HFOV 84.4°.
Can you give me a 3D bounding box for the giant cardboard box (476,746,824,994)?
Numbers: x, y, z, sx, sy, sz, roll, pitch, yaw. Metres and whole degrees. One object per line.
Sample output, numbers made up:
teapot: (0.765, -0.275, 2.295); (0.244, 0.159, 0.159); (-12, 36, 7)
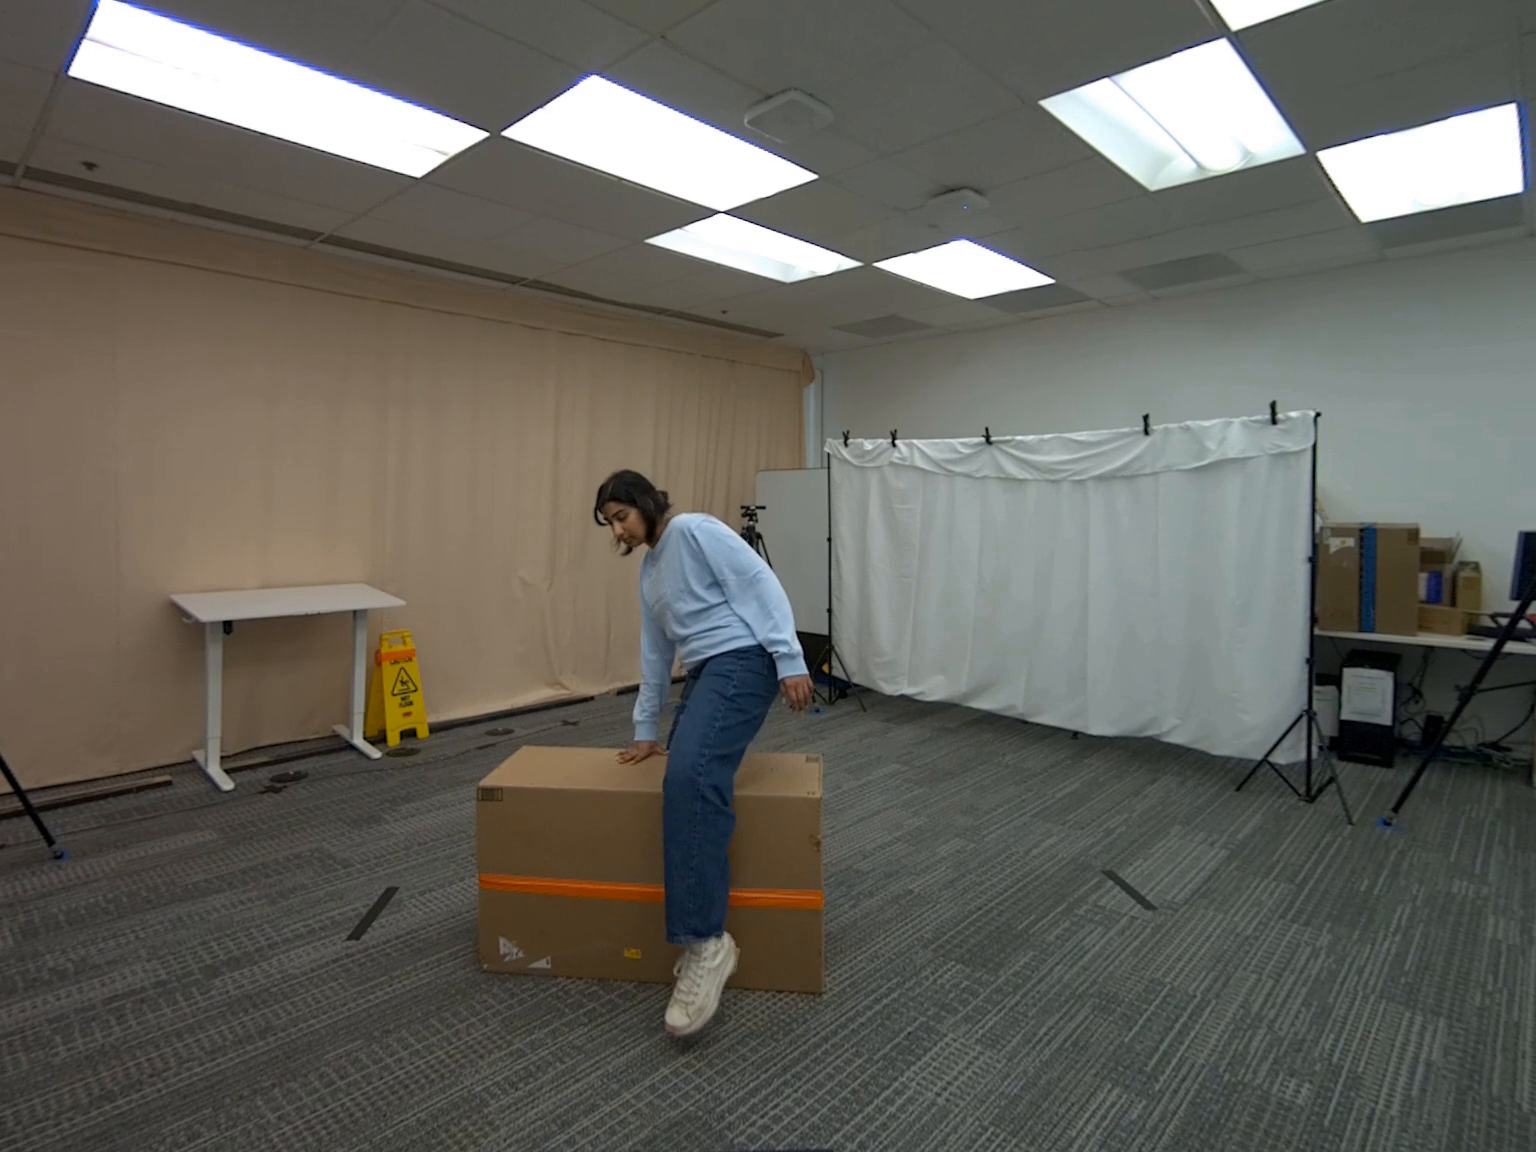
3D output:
giant cardboard box: (-0.343, 0.887, 2.647); (1.034, 0.576, 0.424); (0, 4, 7)
